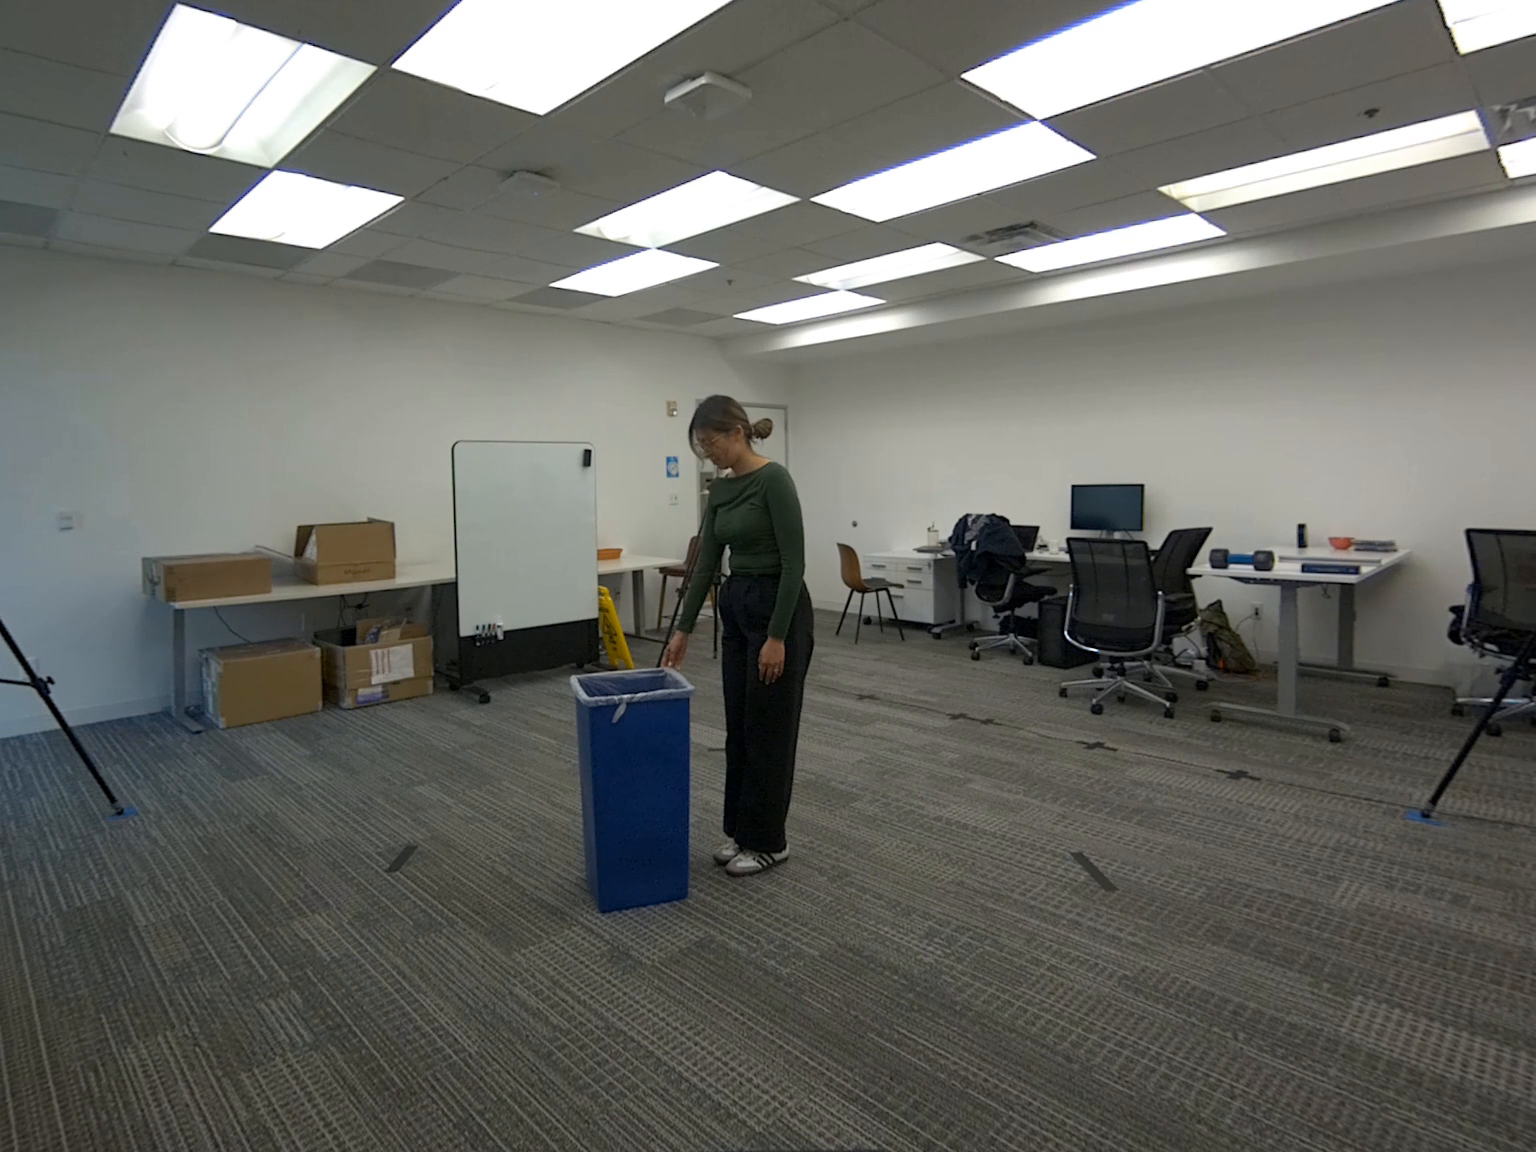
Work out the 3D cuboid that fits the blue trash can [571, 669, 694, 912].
[{"bbox_3d":[-0.463,0.714,2.918,0.368,0.711,0.386,-2,3,-20],"label":"blue trash can"}]
